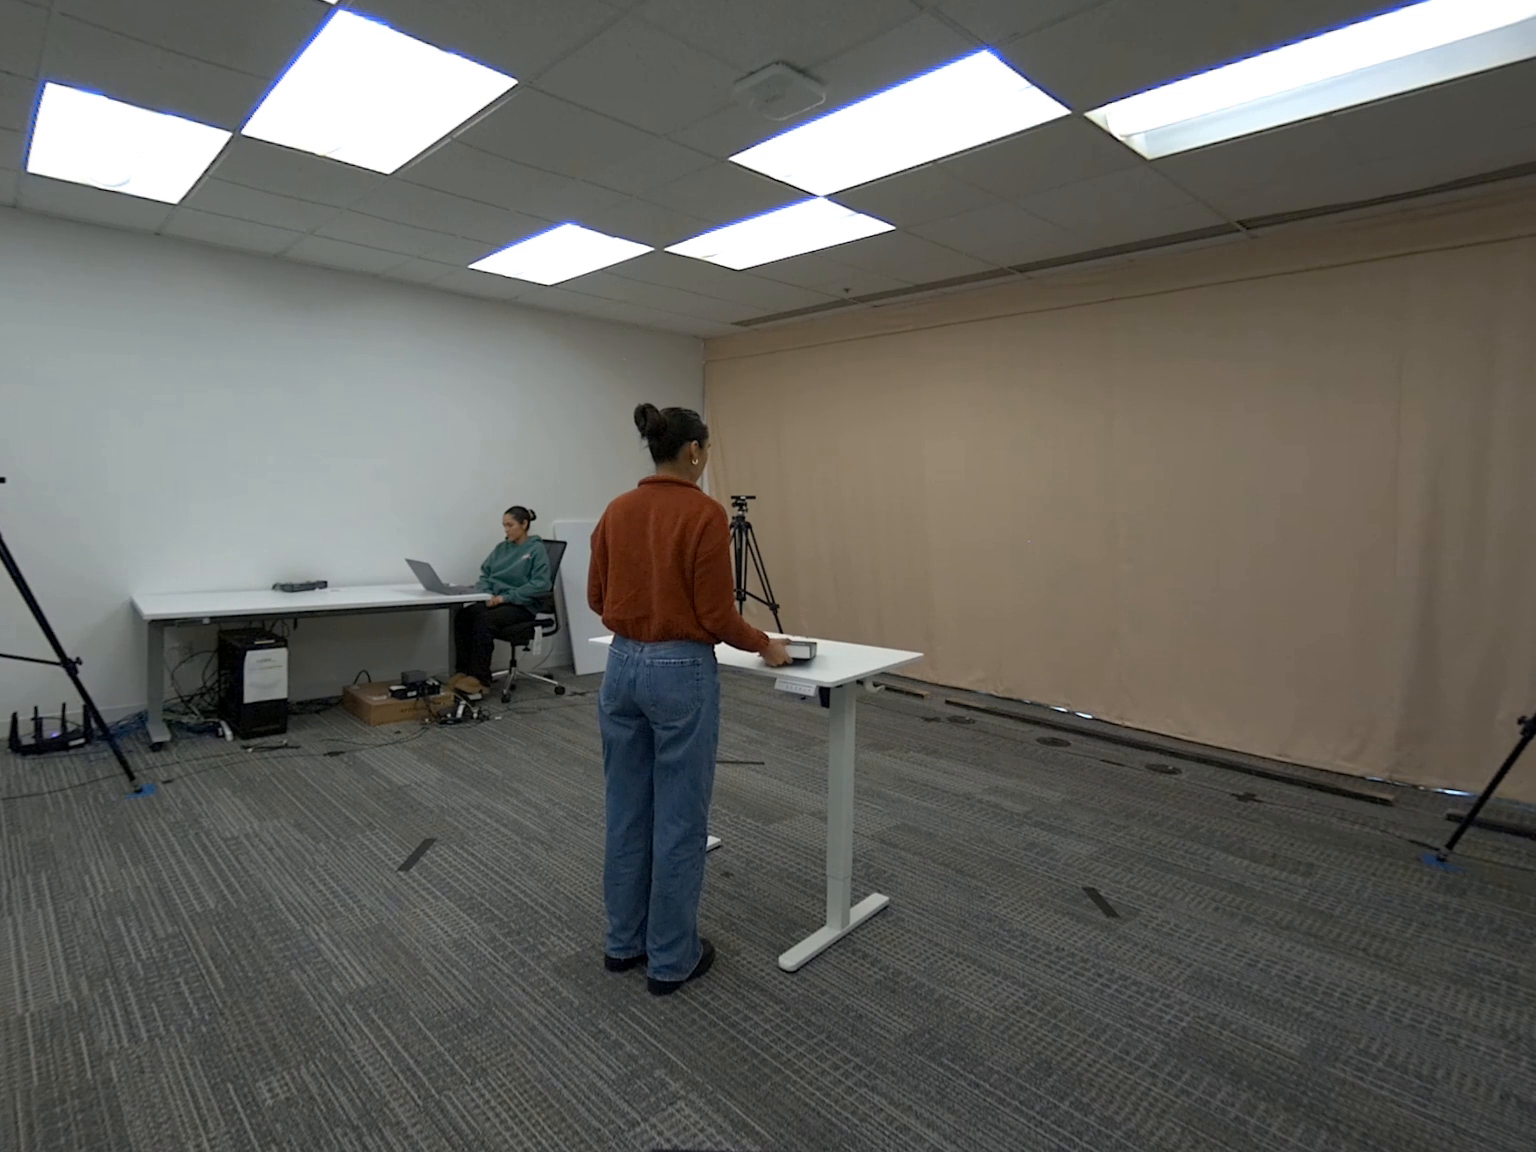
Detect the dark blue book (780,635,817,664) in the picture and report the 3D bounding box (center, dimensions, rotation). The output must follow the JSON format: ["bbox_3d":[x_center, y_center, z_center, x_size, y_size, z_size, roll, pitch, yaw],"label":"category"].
[{"bbox_3d":[0.057,0.228,2.655,0.164,0.045,0.243,2,-1,8],"label":"dark blue book"}]
